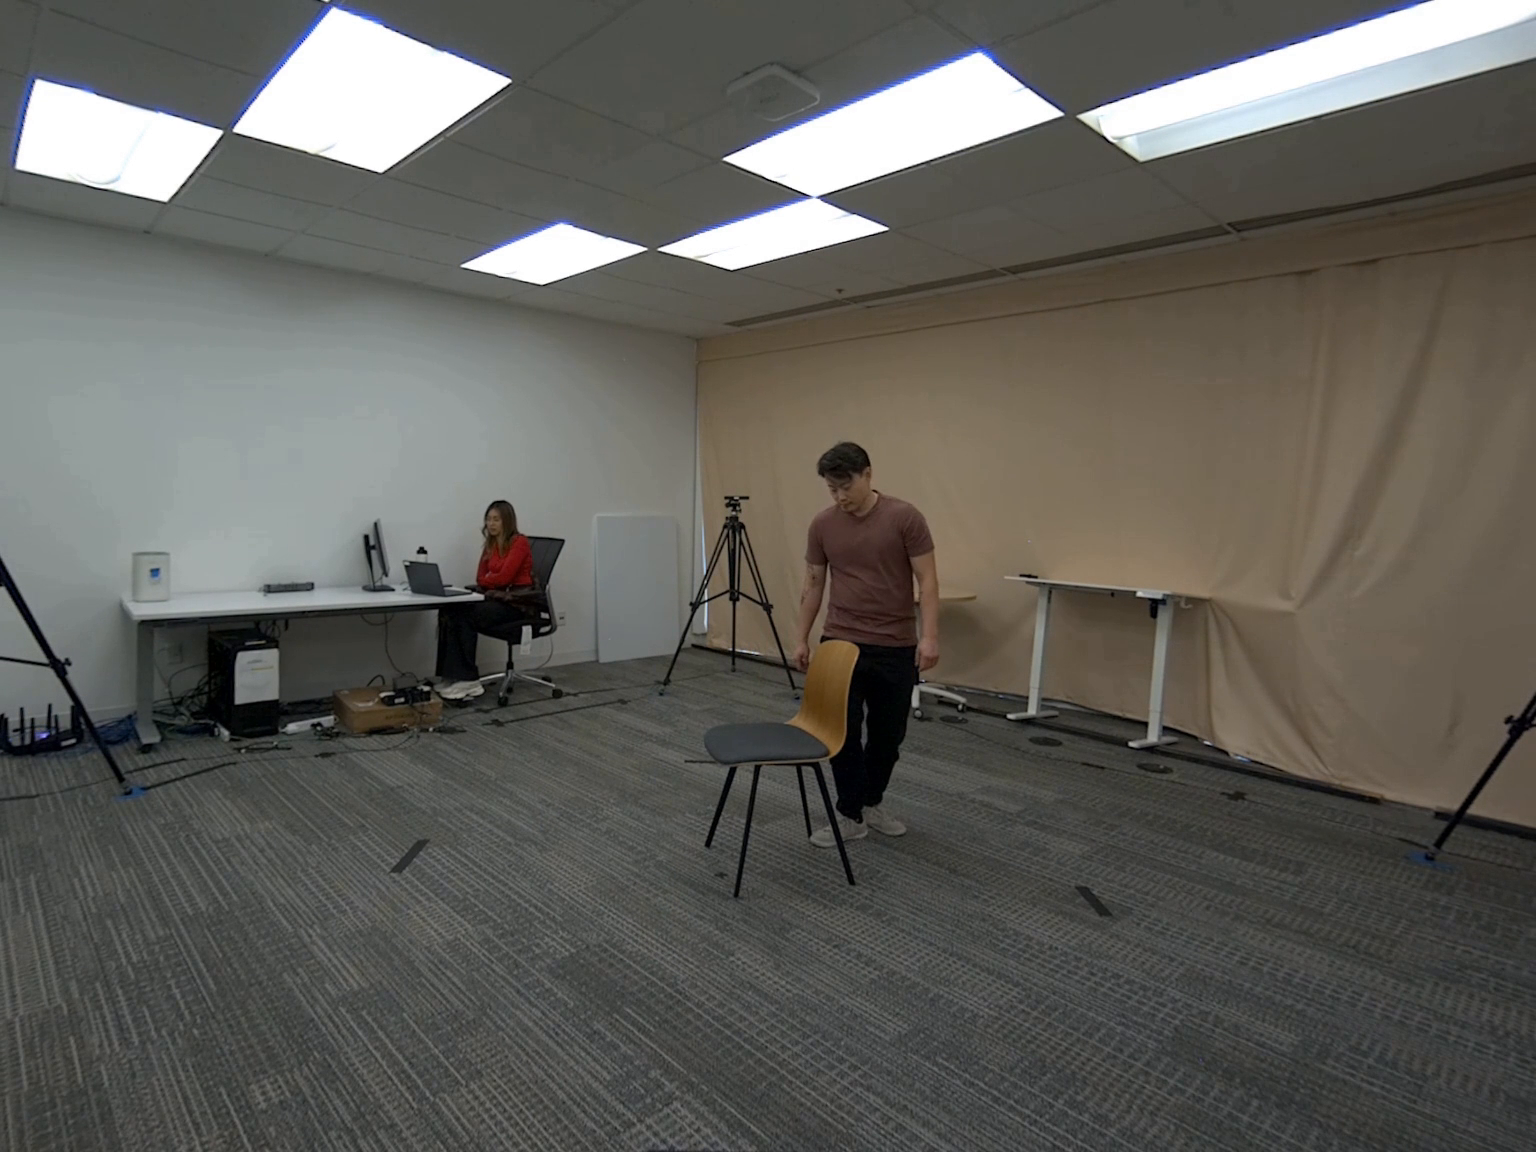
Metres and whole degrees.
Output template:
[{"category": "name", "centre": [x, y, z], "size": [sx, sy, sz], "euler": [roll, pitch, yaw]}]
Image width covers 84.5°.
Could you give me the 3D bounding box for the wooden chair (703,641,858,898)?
[{"category": "wooden chair", "centre": [0.030, 0.677, 3.163], "size": [0.516, 0.876, 0.485], "euler": [5, 3, -17]}]
